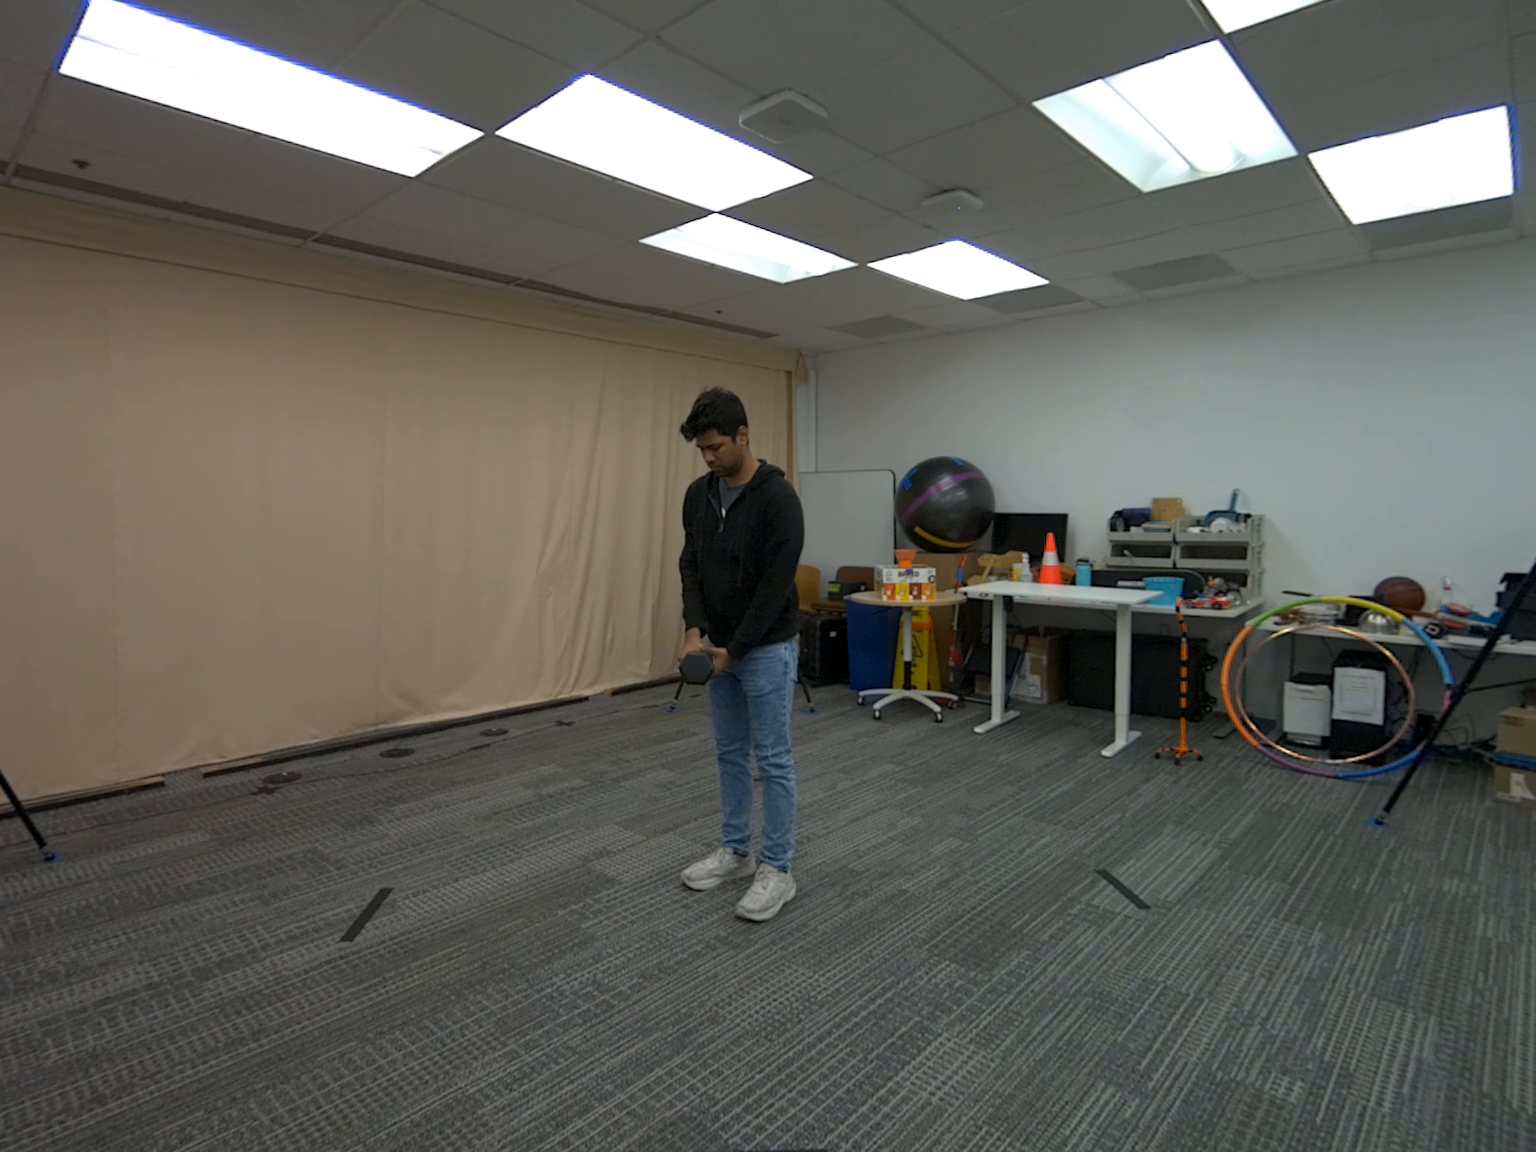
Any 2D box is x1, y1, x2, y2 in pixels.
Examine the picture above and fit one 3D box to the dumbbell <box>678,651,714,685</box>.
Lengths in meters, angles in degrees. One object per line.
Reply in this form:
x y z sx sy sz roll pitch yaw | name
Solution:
-0.235 0.302 2.885 0.108 0.123 0.294 31 -1 -3 | dumbbell
